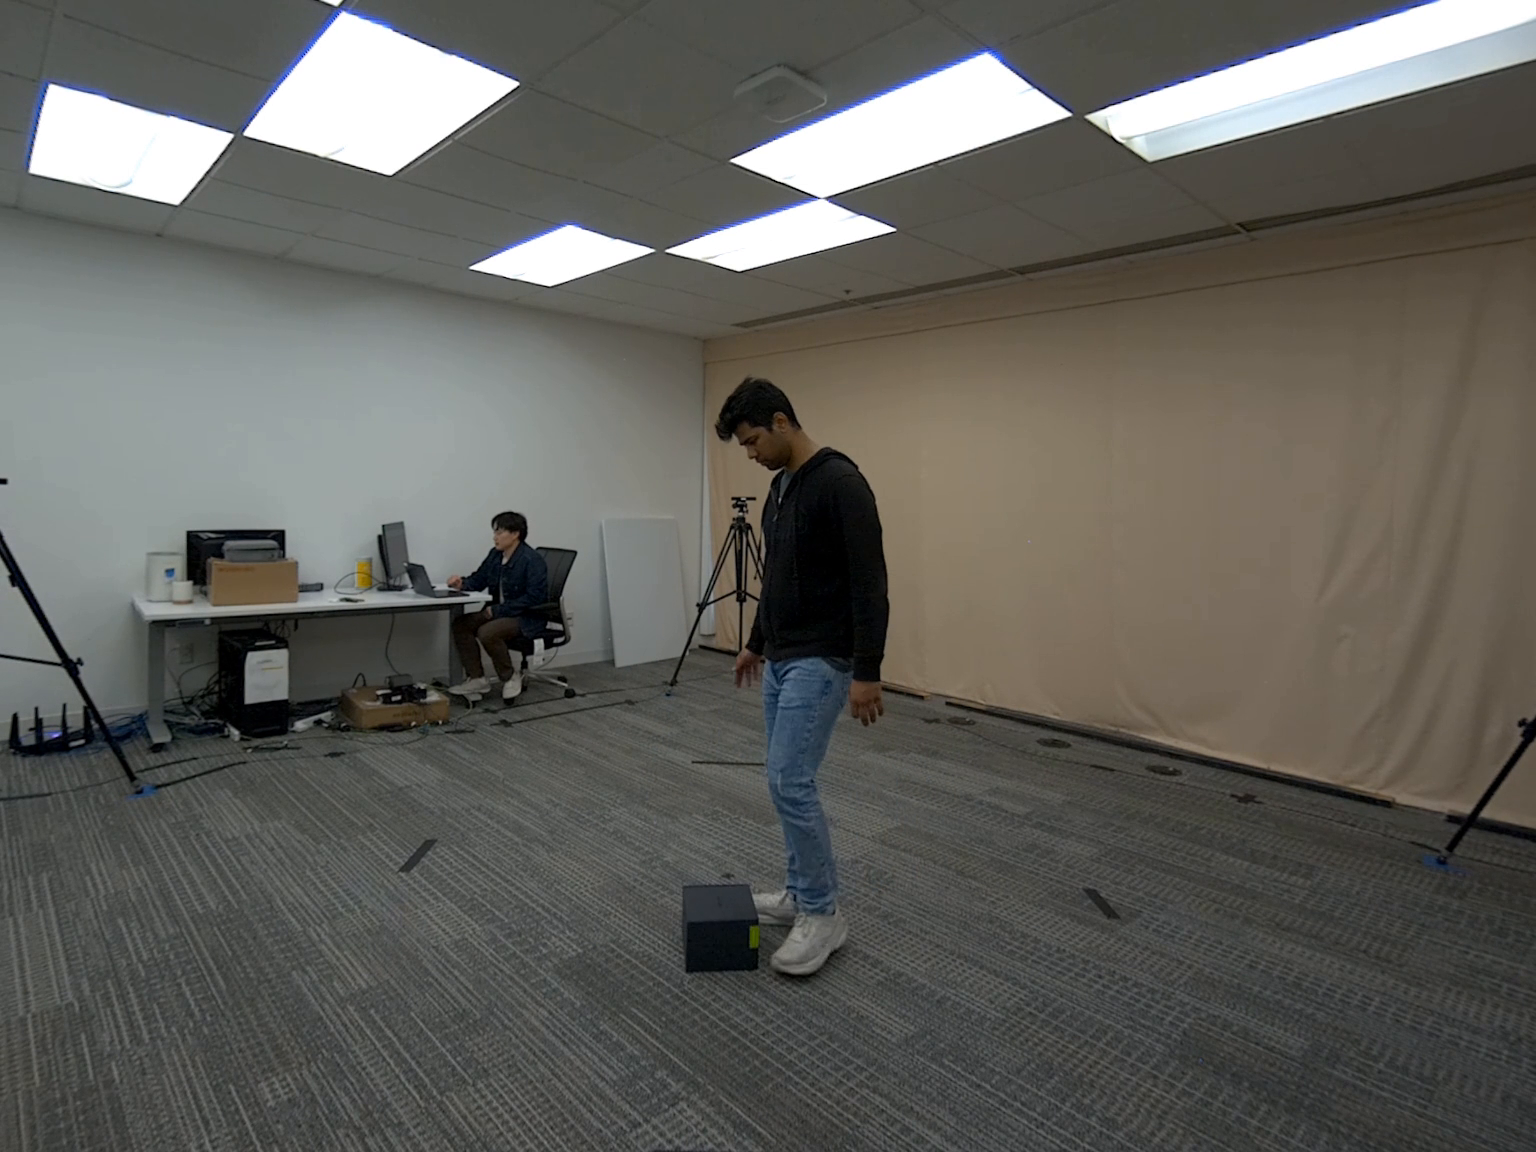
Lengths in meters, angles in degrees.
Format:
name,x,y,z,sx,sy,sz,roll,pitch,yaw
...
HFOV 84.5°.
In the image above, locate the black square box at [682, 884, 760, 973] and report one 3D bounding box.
name,x,y,z,sx,sy,sz,roll,pitch,yaw
black square box,-0.169,1.064,2.591,0.216,0.155,0.230,1,5,-6
